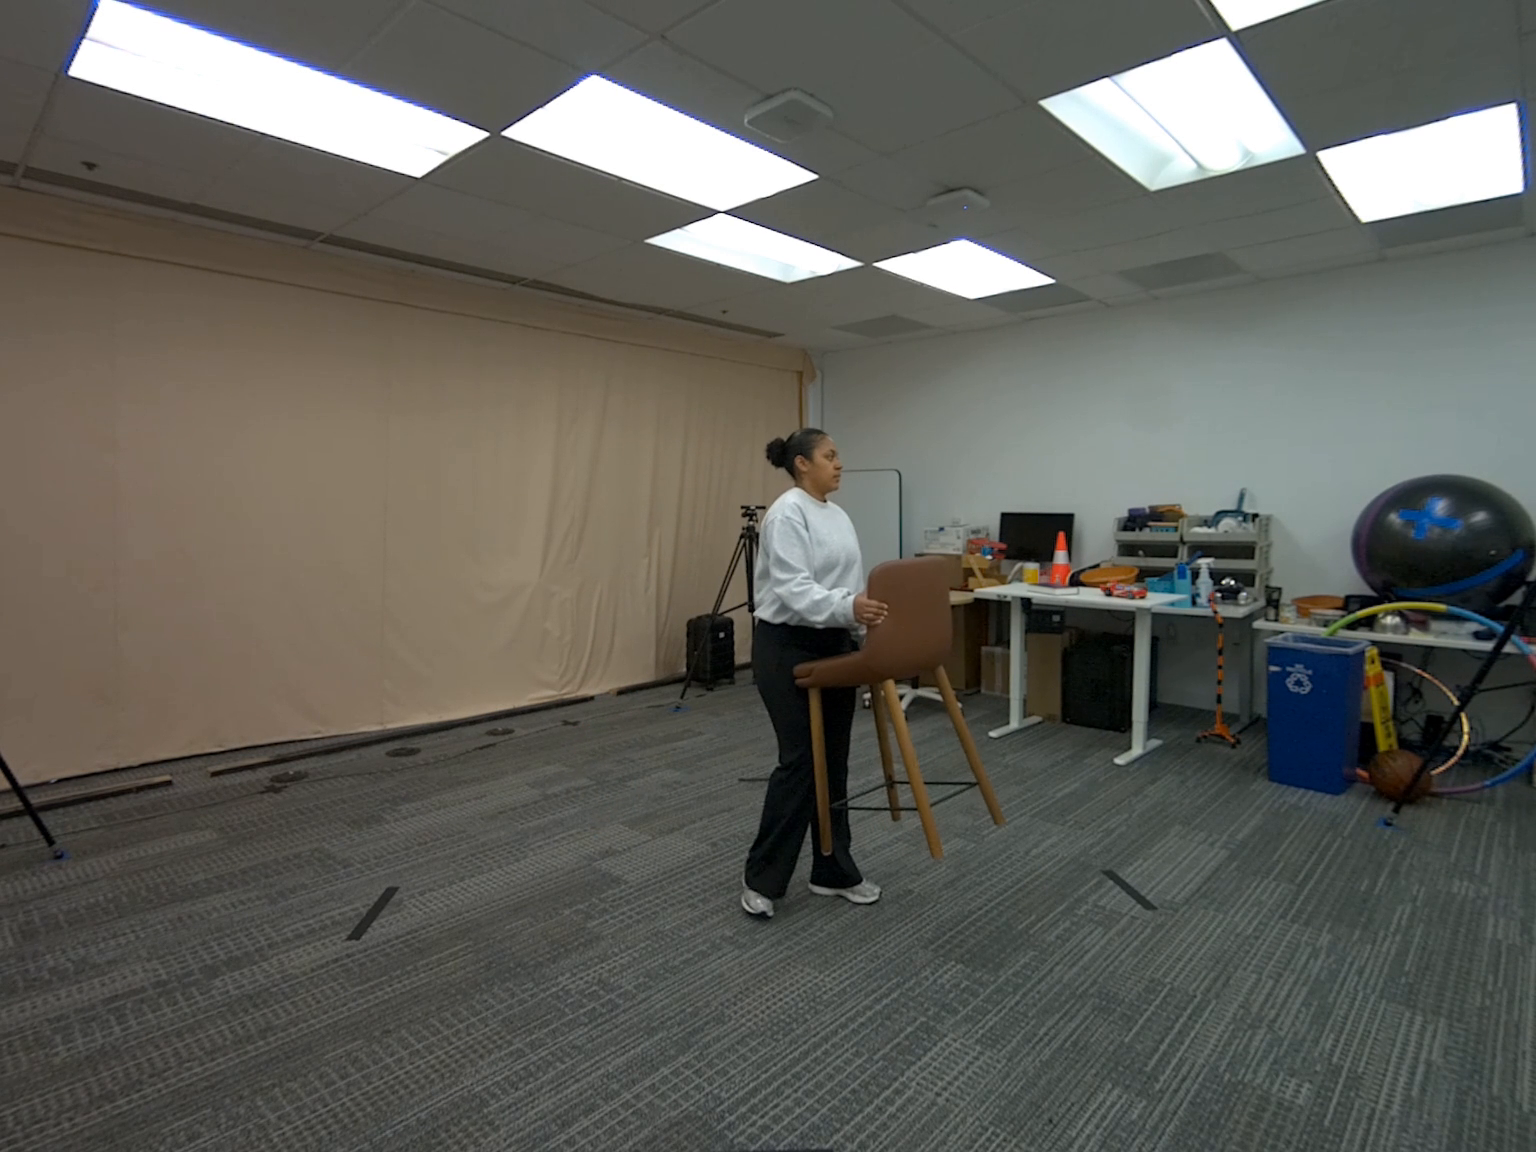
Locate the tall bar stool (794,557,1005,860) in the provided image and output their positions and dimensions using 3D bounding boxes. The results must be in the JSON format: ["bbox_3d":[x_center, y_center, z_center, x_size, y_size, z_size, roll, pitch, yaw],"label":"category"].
[{"bbox_3d":[0.392,0.421,2.749,0.443,0.893,0.480,-5,-7,-44],"label":"tall bar stool"}]
